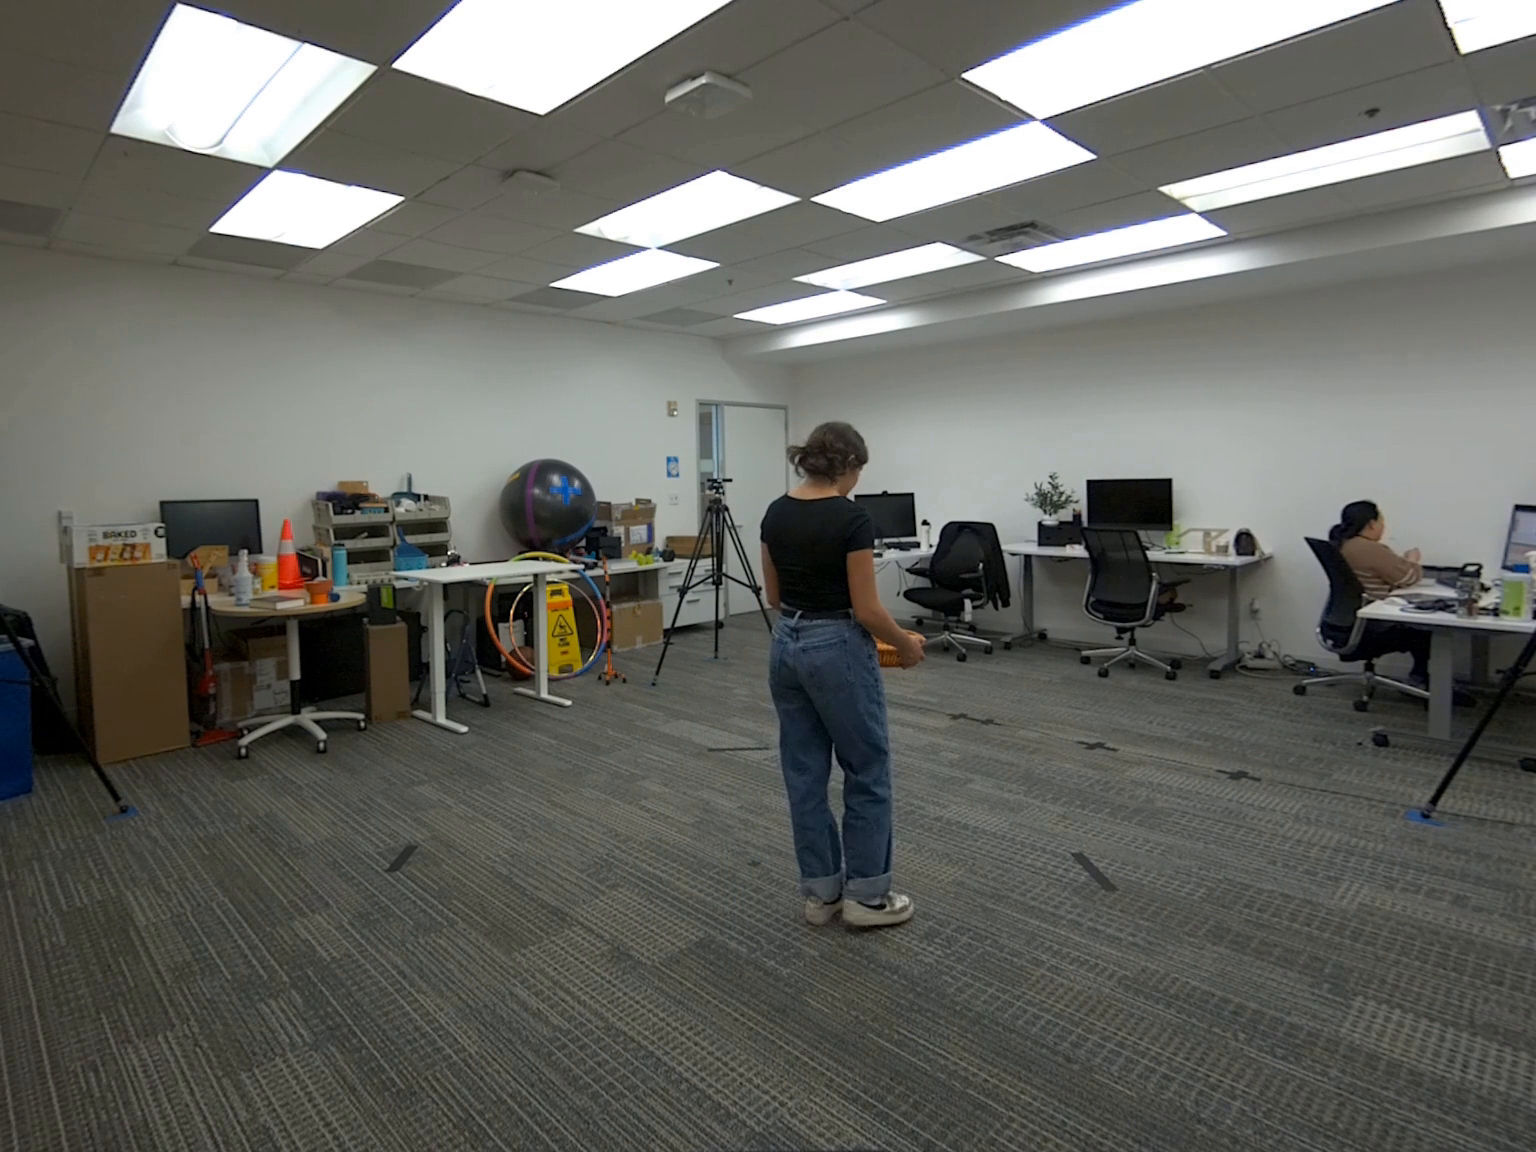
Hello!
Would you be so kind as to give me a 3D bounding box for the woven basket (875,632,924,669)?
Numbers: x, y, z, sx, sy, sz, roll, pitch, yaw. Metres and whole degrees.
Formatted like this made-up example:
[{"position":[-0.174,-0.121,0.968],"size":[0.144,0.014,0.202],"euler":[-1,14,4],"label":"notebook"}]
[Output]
[{"position":[0.364,0.237,2.852],"size":[0.247,0.073,0.361],"euler":[-11,13,-35],"label":"woven basket"}]
